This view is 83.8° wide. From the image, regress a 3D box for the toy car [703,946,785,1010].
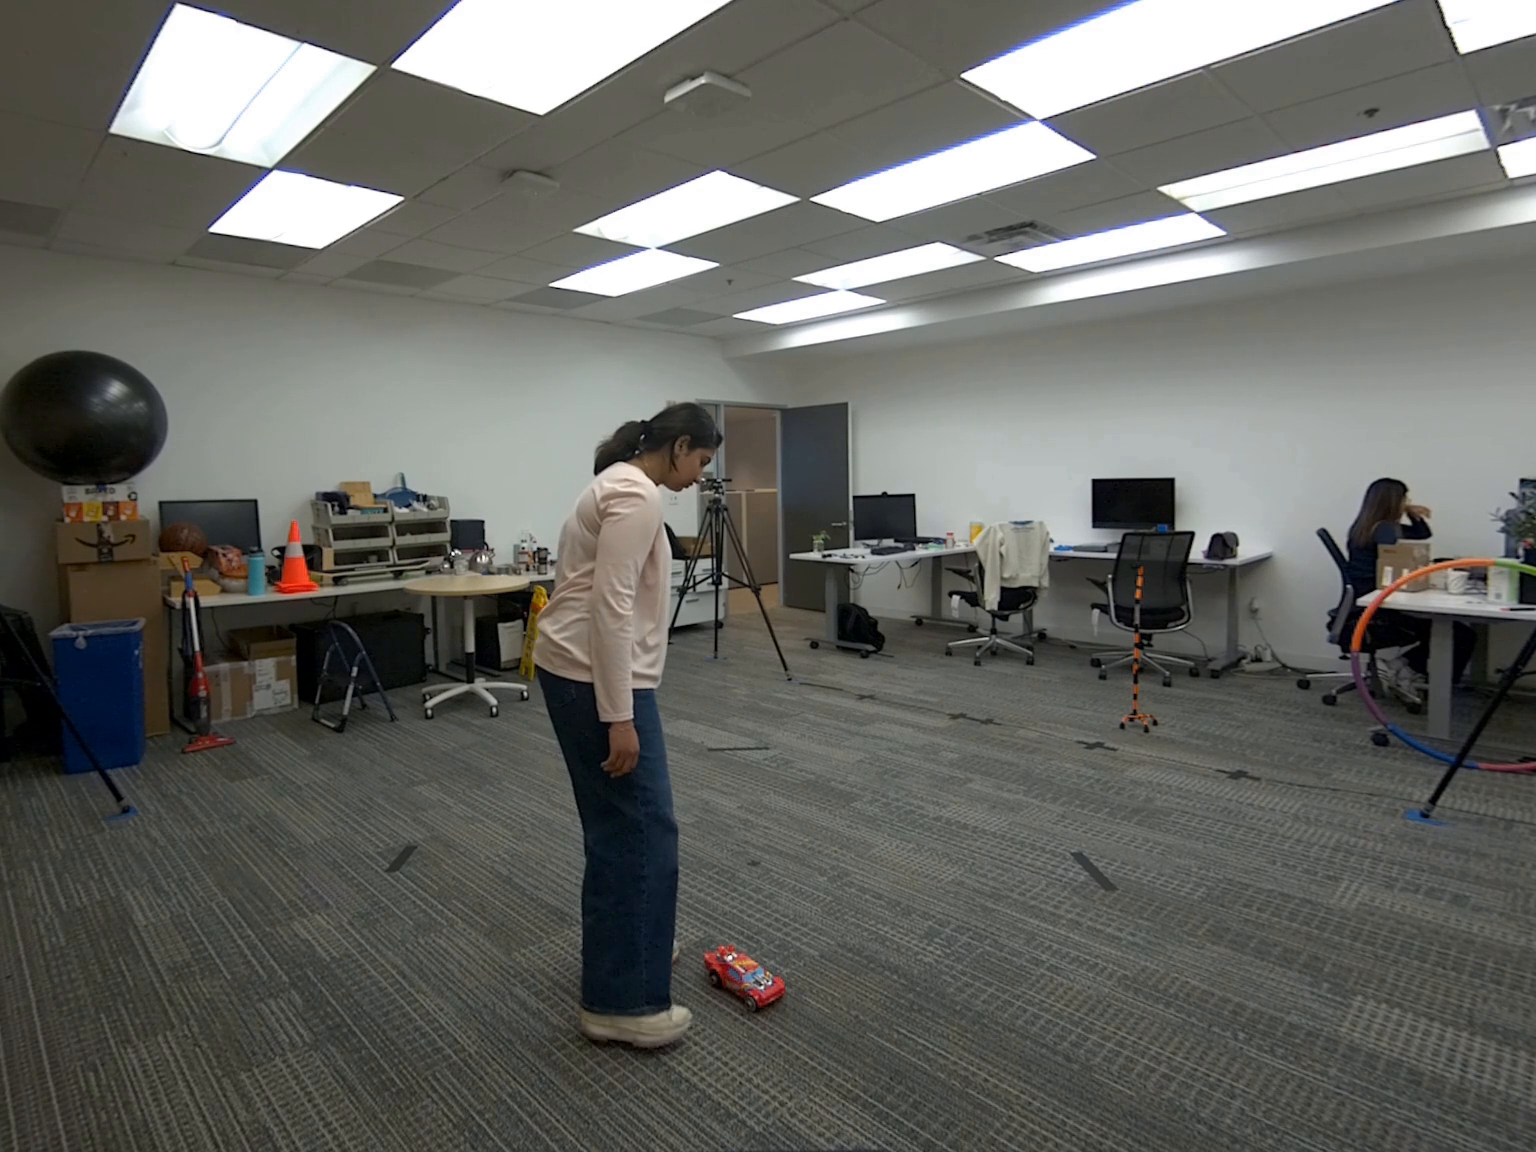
[{"bbox_3d":[-0.069,1.096,2.350,0.127,0.082,0.264,-7,20,-40],"label":"toy car"}]
